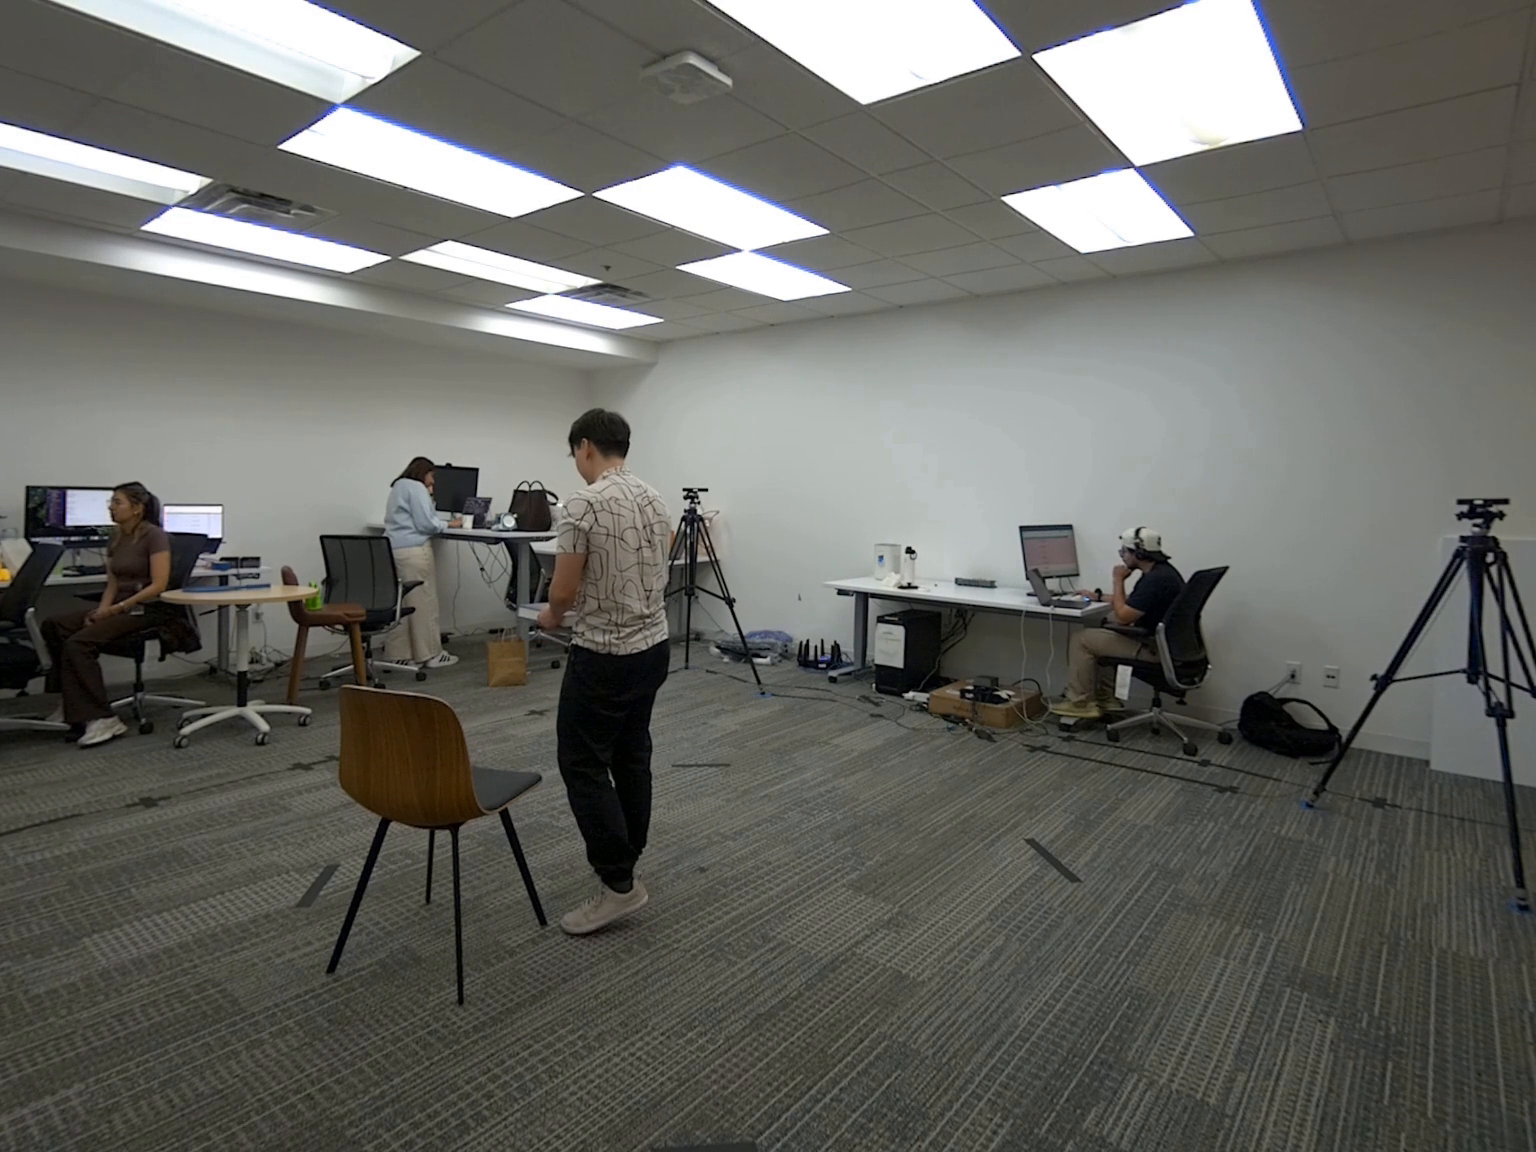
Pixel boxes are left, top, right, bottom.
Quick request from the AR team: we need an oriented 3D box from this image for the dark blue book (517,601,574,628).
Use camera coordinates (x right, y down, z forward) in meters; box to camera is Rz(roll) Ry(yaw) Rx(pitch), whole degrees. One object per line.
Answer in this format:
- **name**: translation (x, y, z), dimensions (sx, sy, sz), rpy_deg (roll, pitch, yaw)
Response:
- **dark blue book**: translation (-0.780, 0.138, 3.109), dimensions (0.253, 0.045, 0.158), rpy_deg (11, 6, 34)
